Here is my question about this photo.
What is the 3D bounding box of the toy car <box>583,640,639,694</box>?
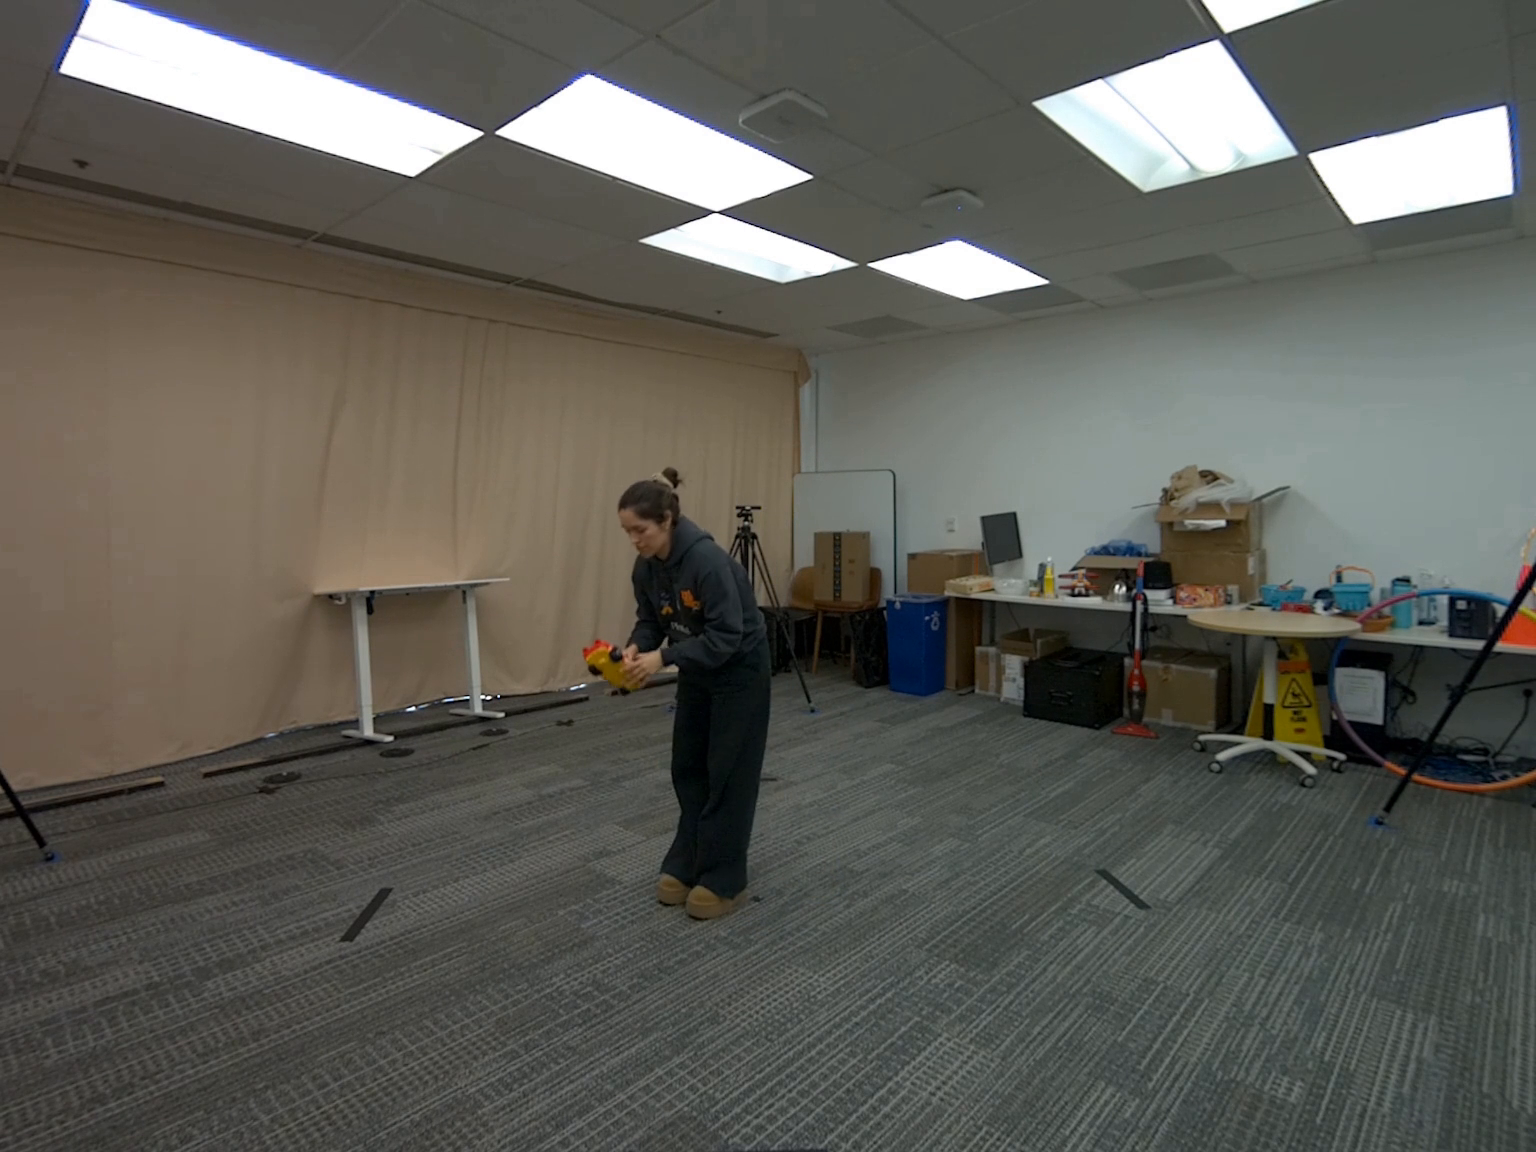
[{"bbox_3d":[-0.493,0.304,2.784,0.131,0.247,0.085,-38,30,16],"label":"toy car"}]
